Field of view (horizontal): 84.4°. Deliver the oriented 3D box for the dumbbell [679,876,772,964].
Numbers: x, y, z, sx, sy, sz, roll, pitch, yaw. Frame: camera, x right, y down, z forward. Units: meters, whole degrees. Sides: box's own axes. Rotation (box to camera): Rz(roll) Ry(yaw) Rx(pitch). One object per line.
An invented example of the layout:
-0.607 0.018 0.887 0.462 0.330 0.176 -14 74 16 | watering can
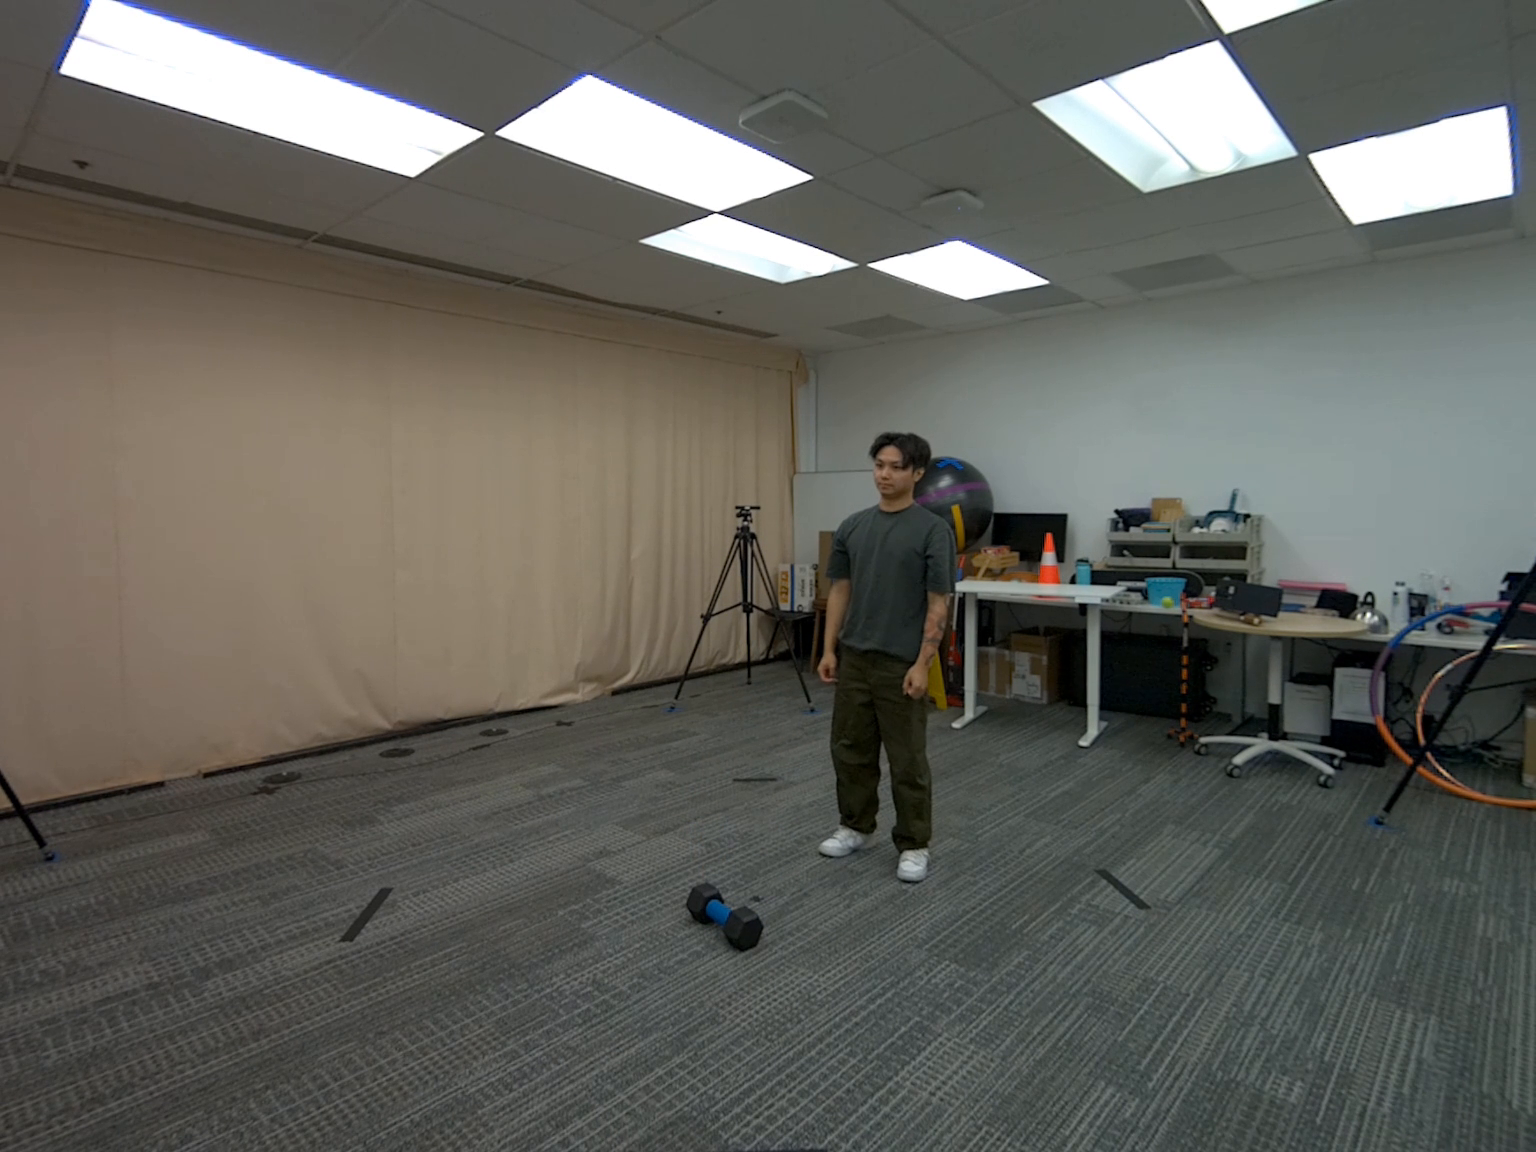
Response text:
-0.144 1.109 2.749 0.107 0.120 0.303 -39 26 -29 | dumbbell
